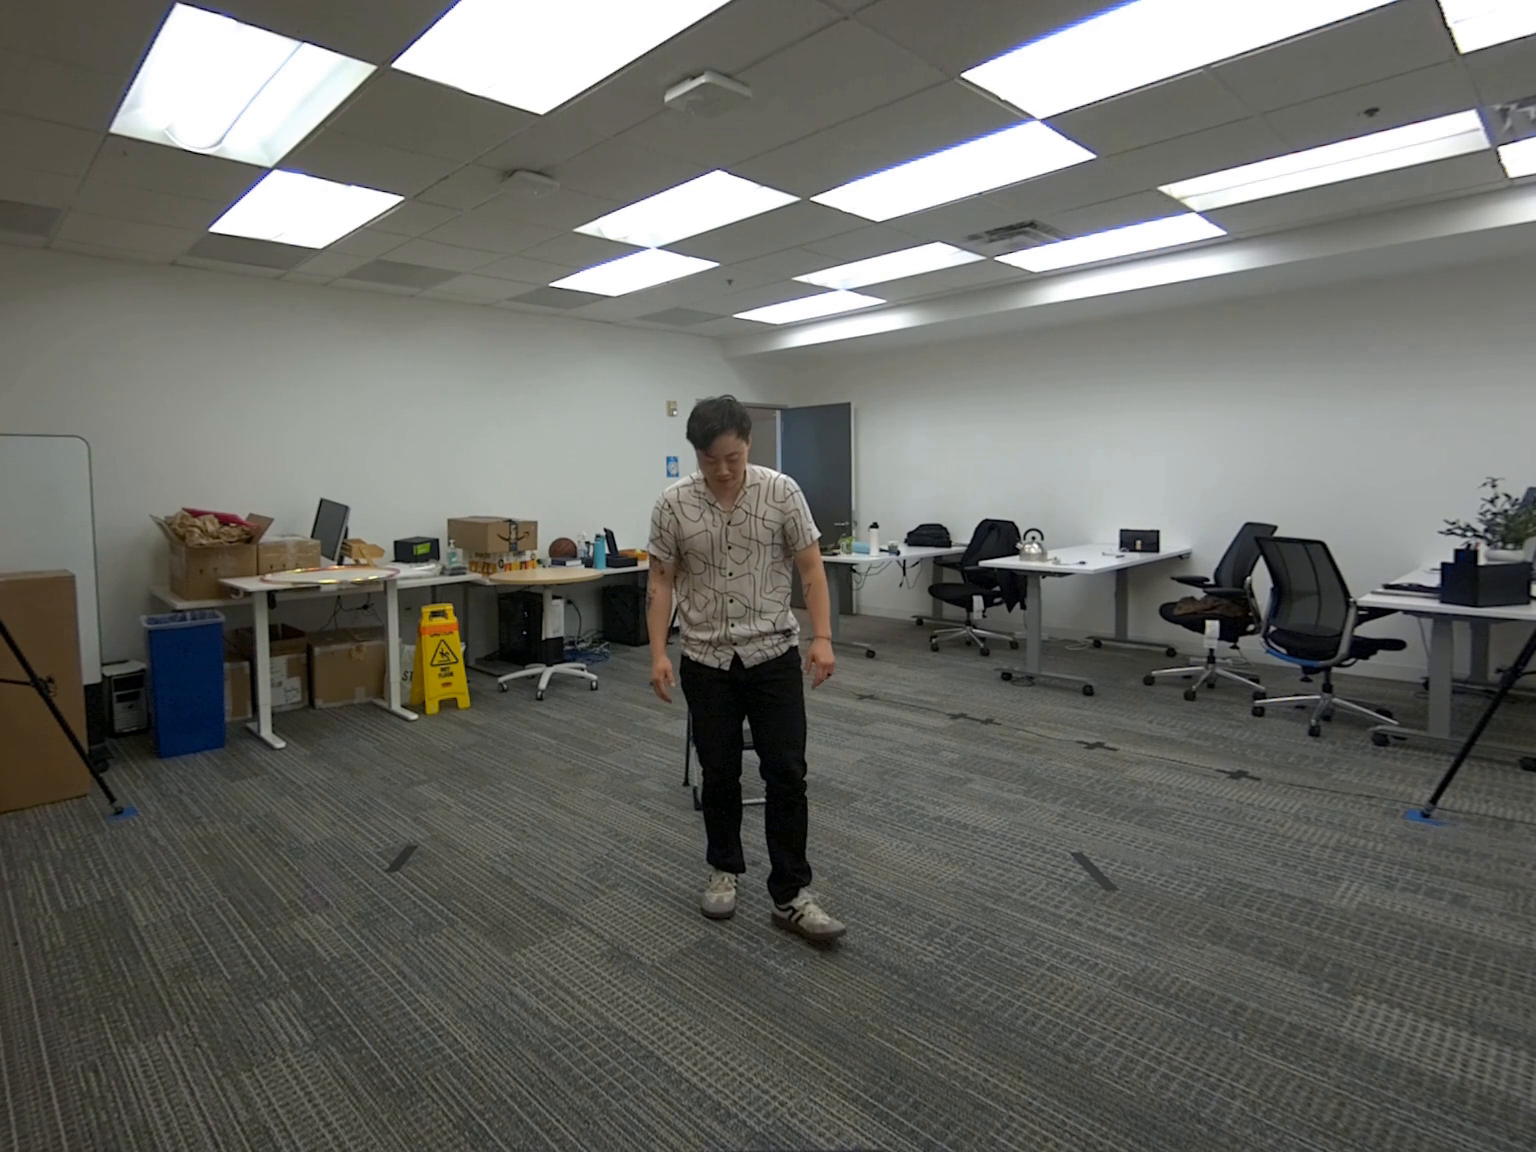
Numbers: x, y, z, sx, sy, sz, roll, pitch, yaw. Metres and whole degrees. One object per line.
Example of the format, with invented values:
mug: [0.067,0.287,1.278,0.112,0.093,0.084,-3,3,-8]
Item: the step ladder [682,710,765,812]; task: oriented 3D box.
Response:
step ladder: [-0.153,0.668,3.792,0.426,0.604,0.355,-2,4,-13]
